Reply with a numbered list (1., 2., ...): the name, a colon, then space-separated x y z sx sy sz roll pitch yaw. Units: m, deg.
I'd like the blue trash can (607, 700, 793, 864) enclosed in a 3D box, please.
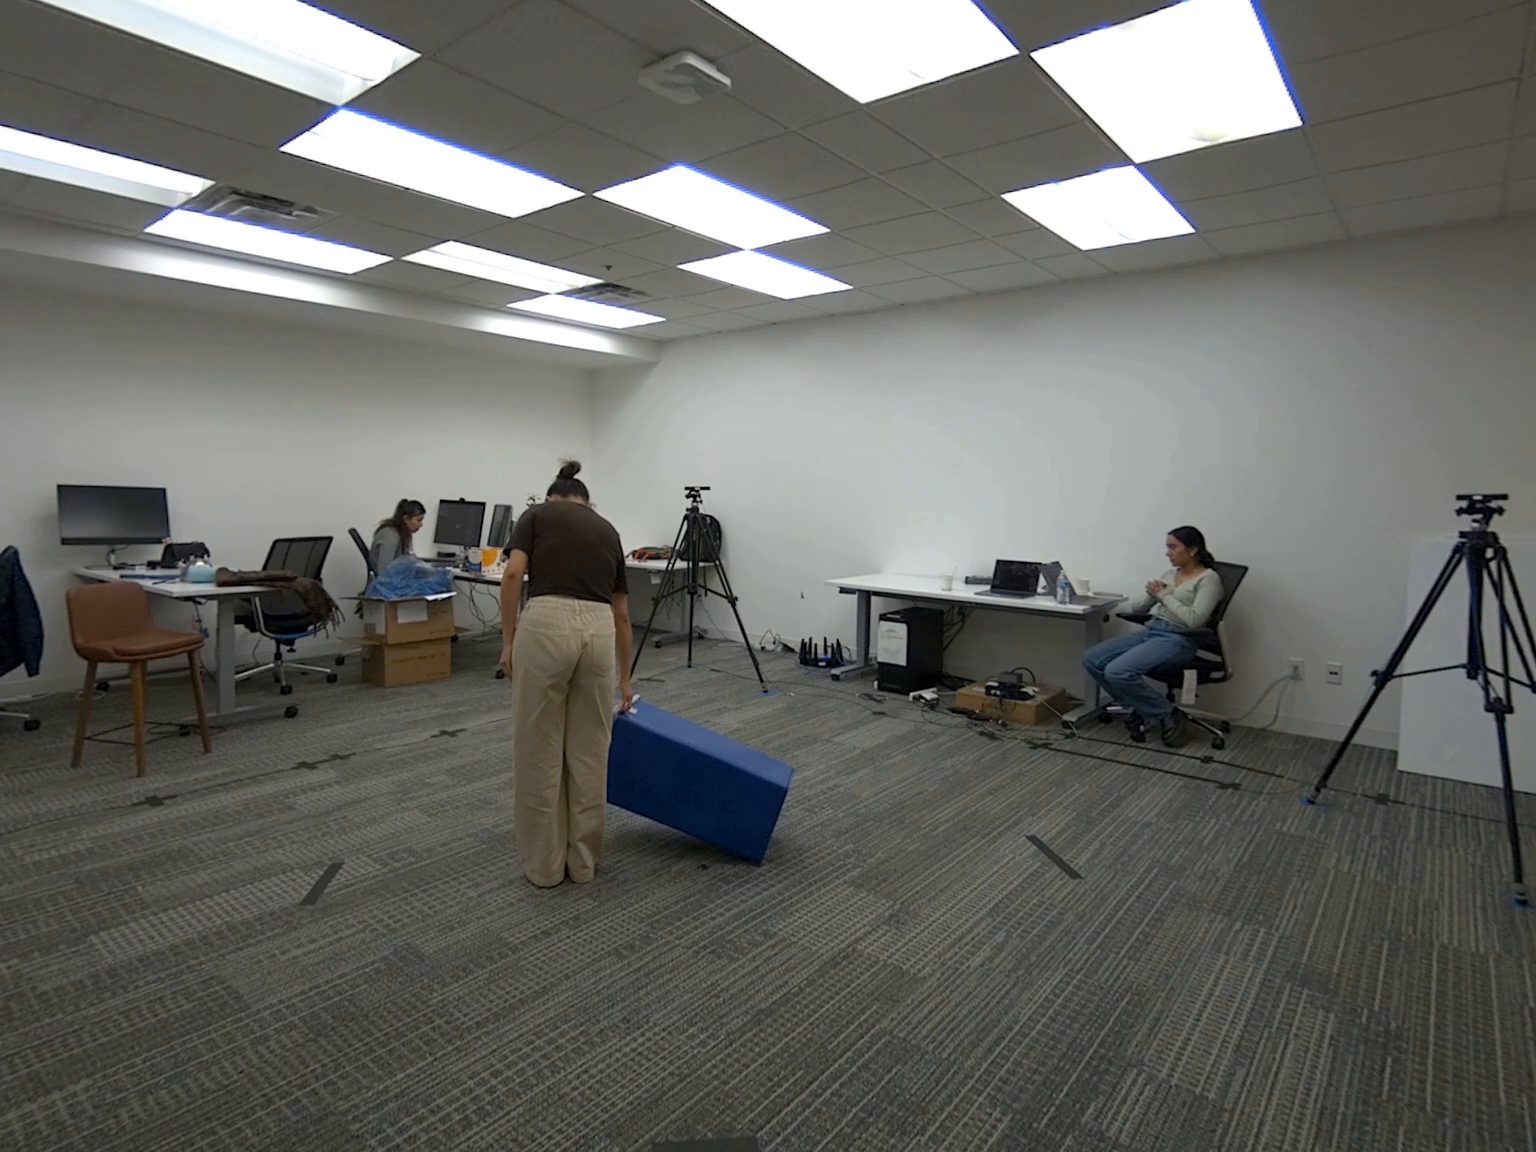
1. blue trash can: -0.307 0.787 3.319 0.722 0.373 0.374 21 2 8
